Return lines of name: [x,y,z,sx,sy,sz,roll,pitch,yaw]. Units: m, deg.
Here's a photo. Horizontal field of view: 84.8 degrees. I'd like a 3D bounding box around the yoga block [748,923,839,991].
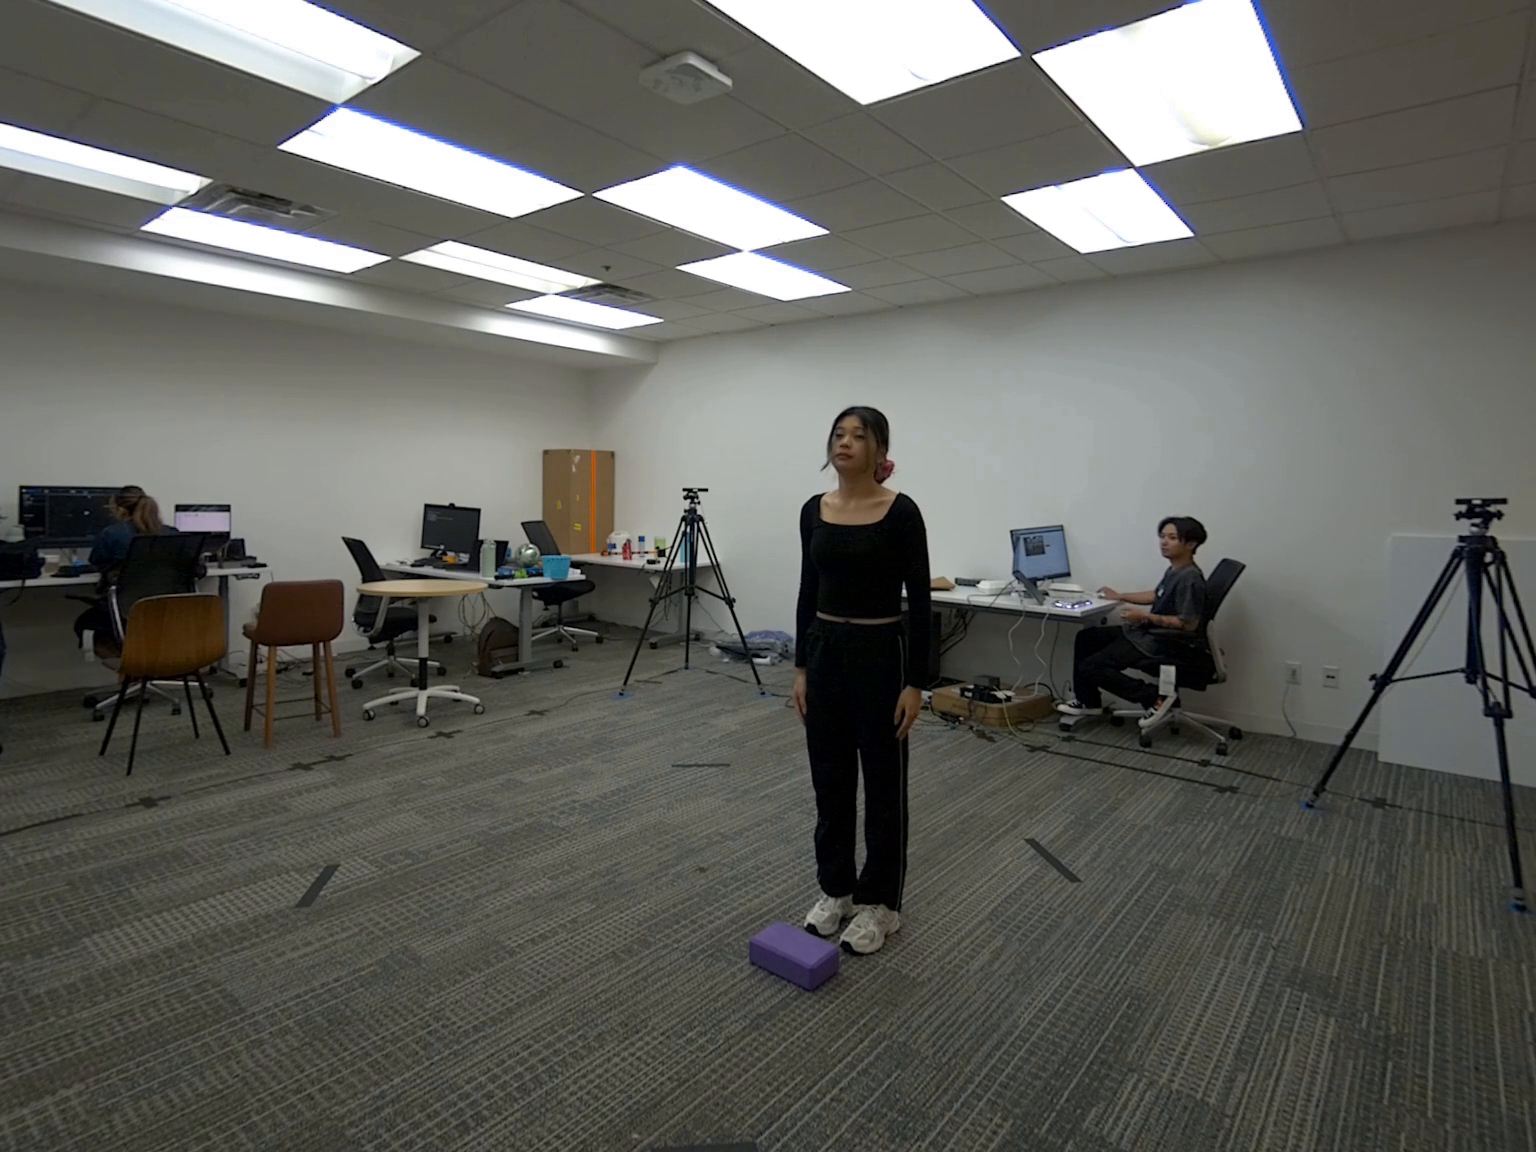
yoga block: [0.071,1.096,2.479,0.237,0.076,0.145,6,8,40]
